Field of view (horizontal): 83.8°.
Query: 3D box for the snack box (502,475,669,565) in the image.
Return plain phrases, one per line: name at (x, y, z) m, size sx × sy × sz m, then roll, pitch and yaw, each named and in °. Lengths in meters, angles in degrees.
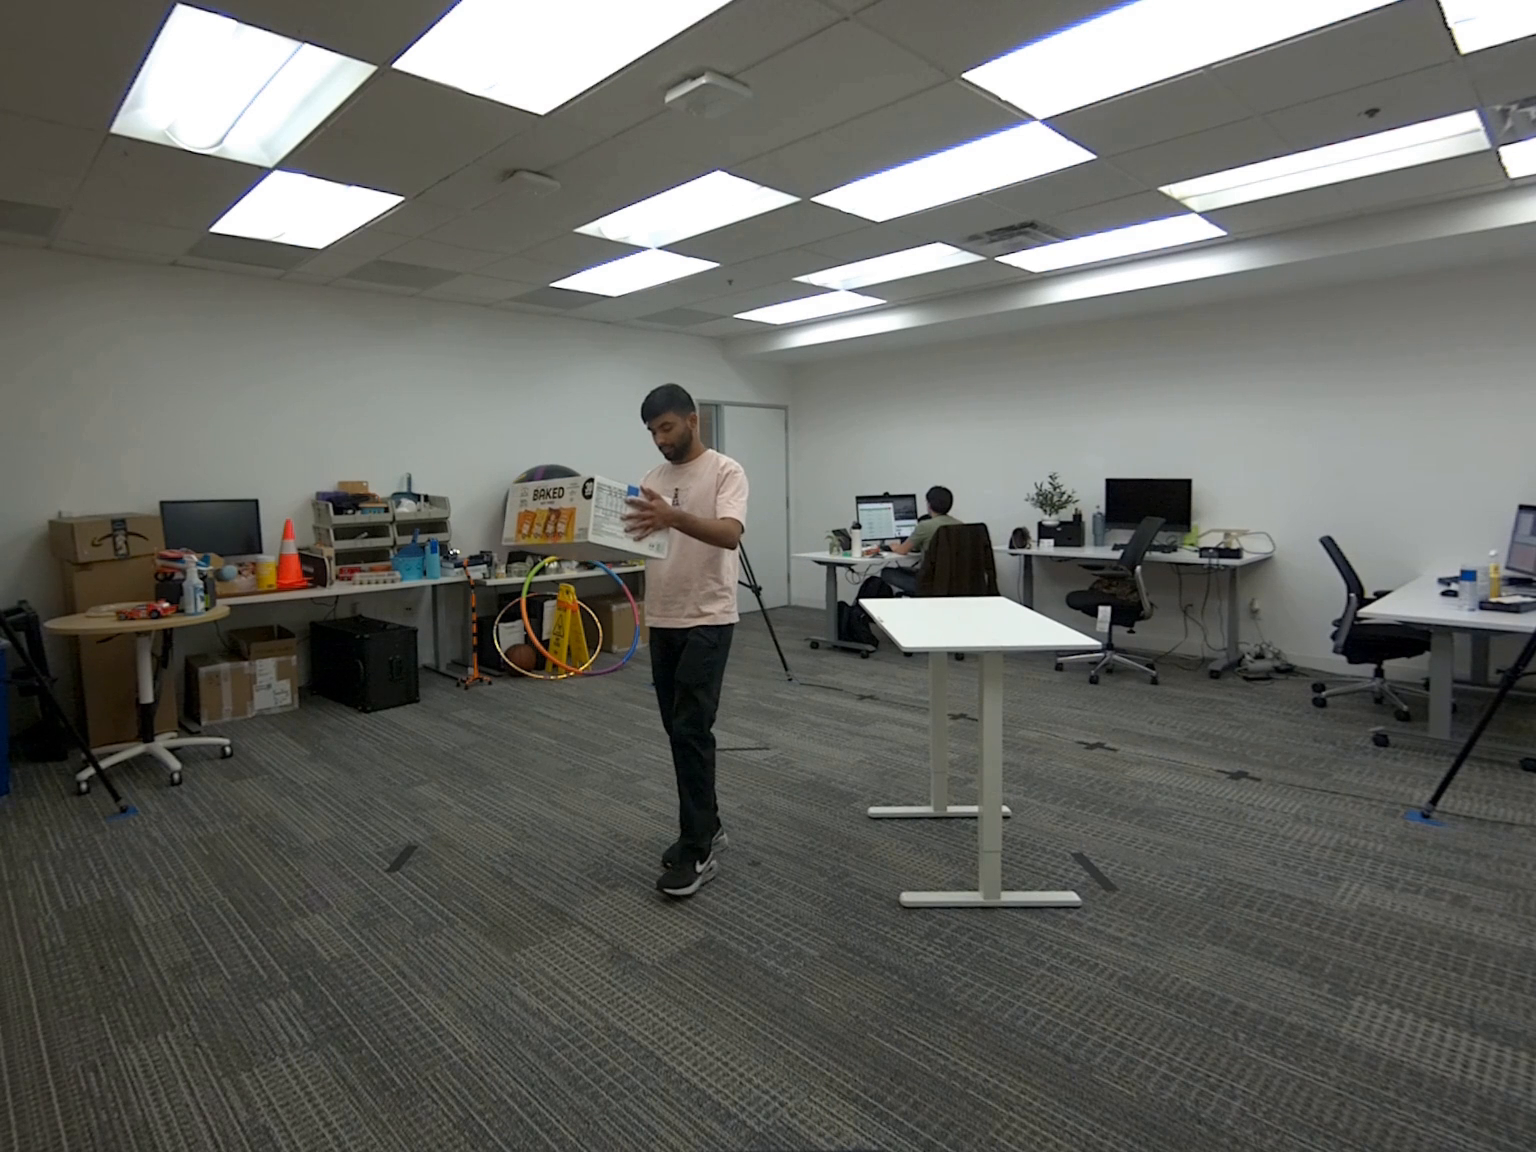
snack box at (-0.578, -0.168, 2.738) m, size 0.416 × 0.207 × 0.329 m, roll -1°, pitch -9°, yaw 38°
